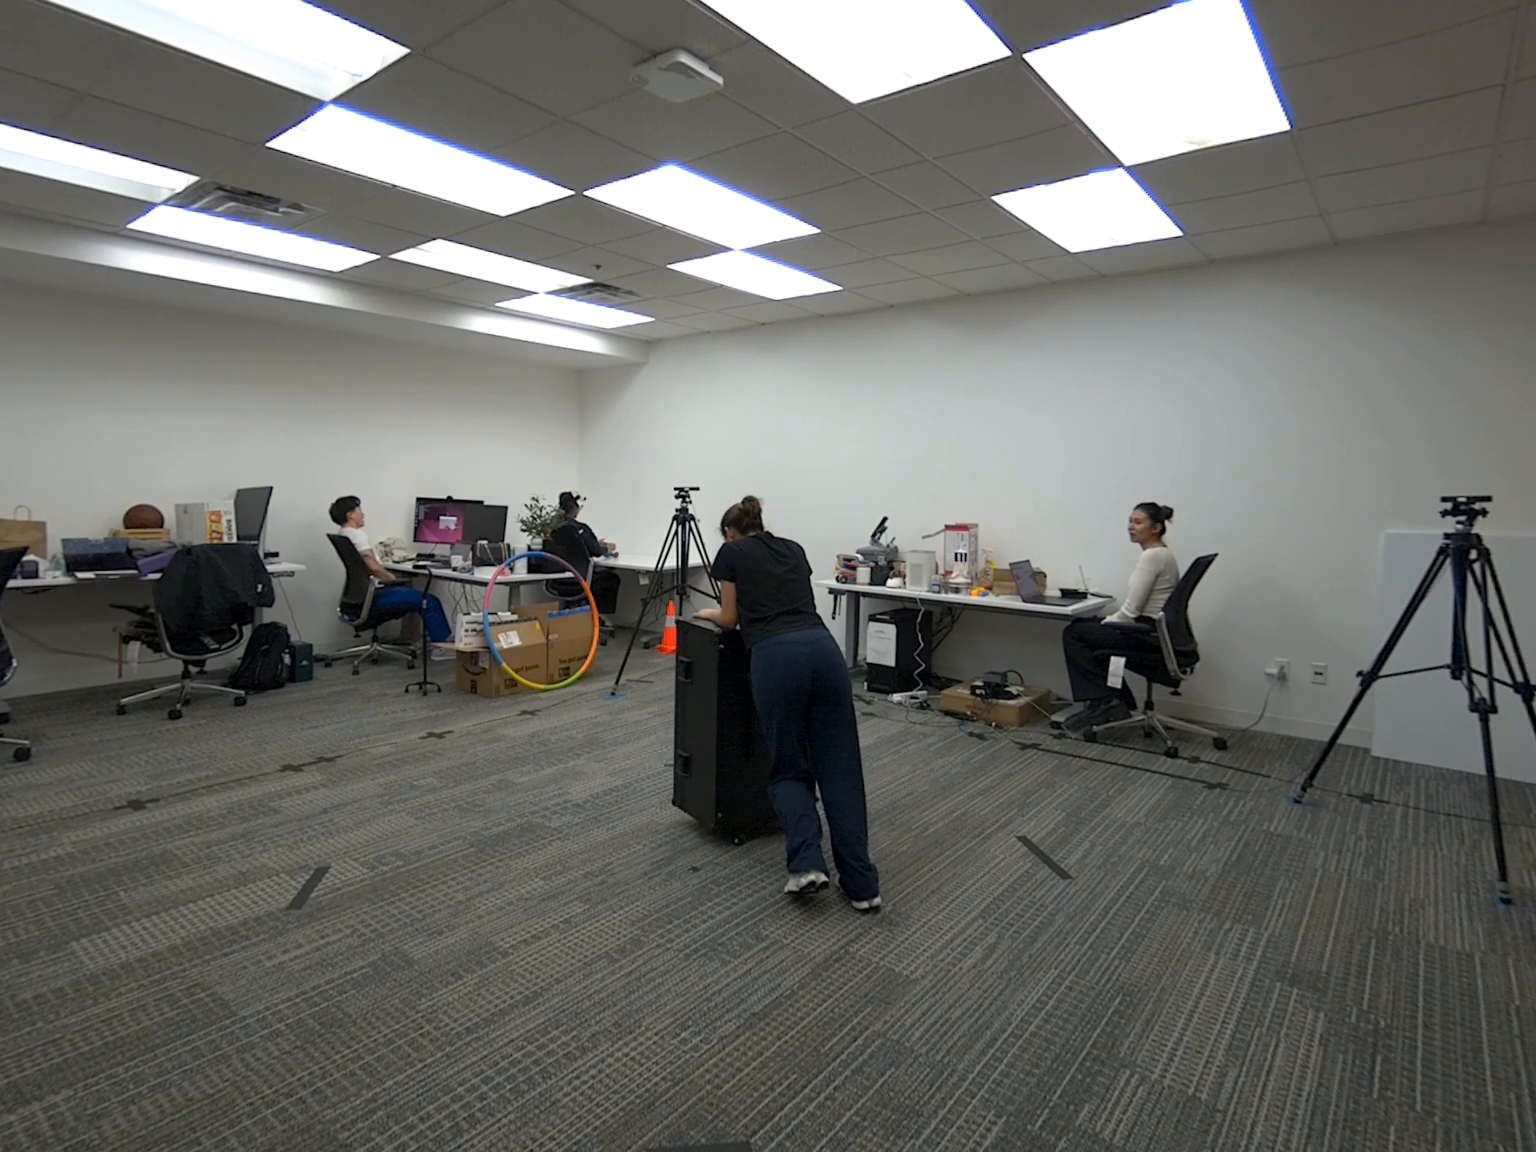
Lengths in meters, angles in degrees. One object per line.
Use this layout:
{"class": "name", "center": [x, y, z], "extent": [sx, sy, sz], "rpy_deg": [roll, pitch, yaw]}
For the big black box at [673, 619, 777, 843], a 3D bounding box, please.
{"class": "big black box", "center": [-0.075, 0.544, 3.499], "extent": [0.507, 0.859, 0.408], "rpy_deg": [0, 3, -31]}
